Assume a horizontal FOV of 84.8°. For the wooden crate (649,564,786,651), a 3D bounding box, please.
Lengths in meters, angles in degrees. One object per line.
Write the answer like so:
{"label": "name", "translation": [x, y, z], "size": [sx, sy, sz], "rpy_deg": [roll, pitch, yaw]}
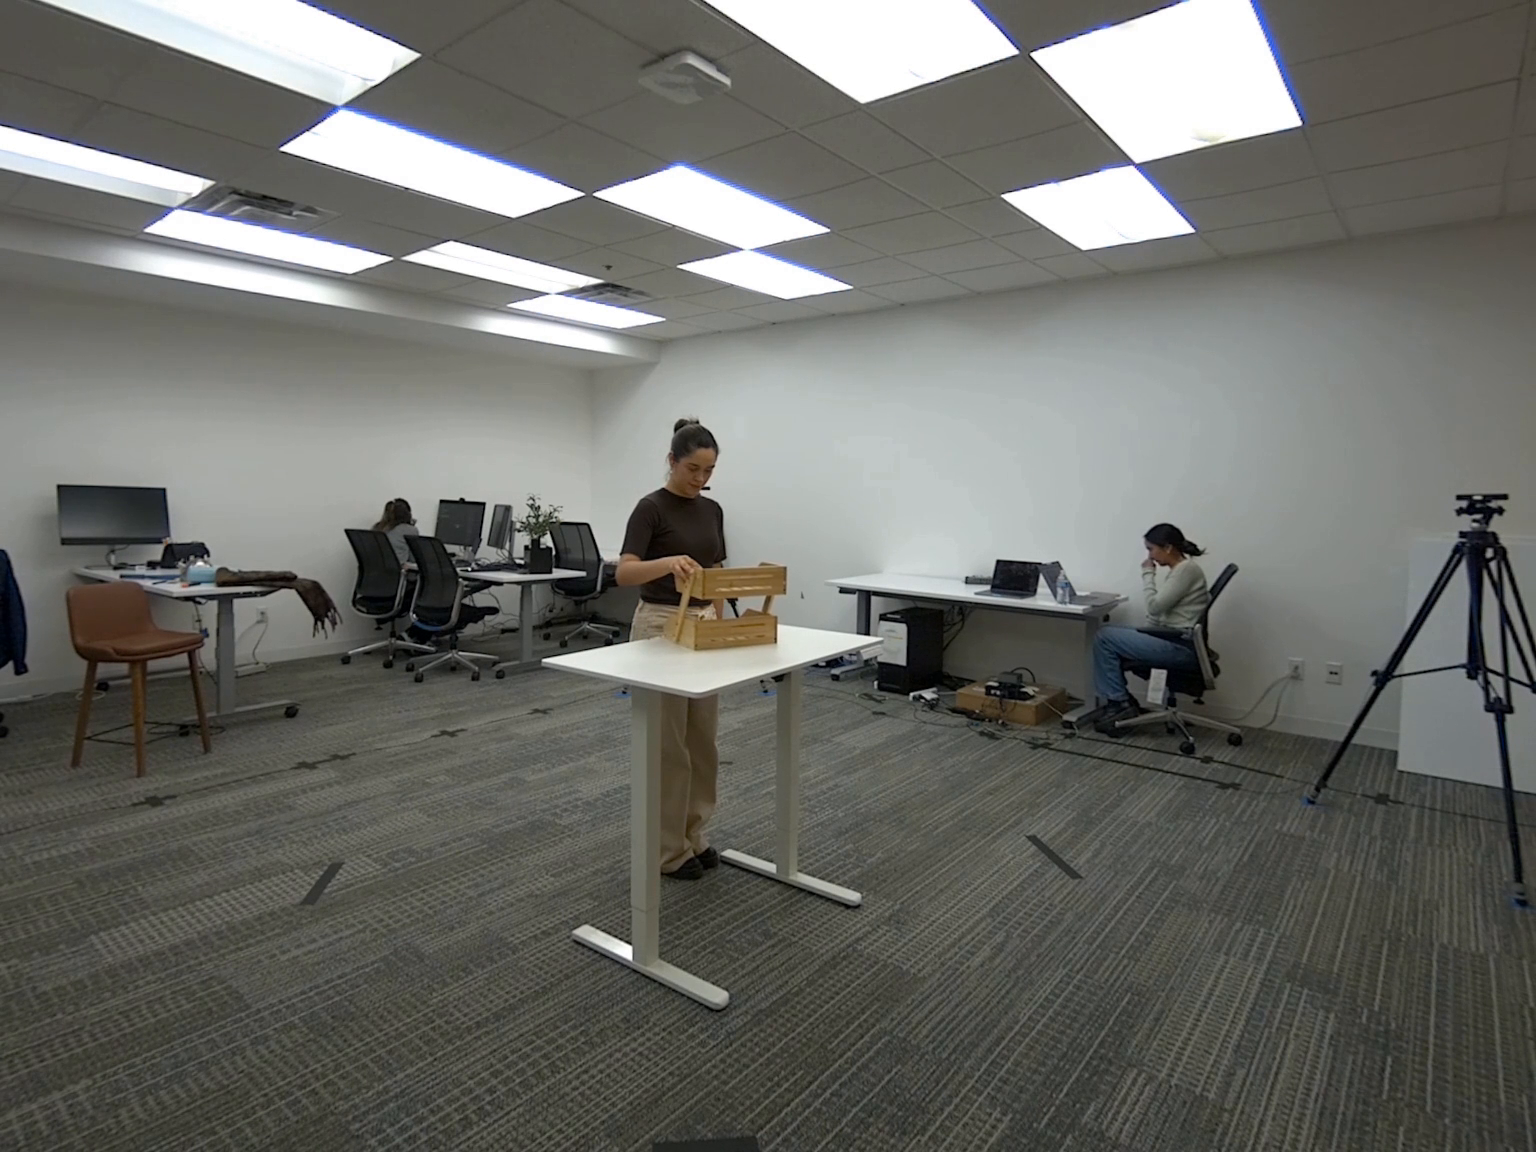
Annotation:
{"label": "wooden crate", "translation": [-0.157, 0.080, 2.795], "size": [0.316, 0.272, 0.311], "rpy_deg": [-2, 6, -29]}
